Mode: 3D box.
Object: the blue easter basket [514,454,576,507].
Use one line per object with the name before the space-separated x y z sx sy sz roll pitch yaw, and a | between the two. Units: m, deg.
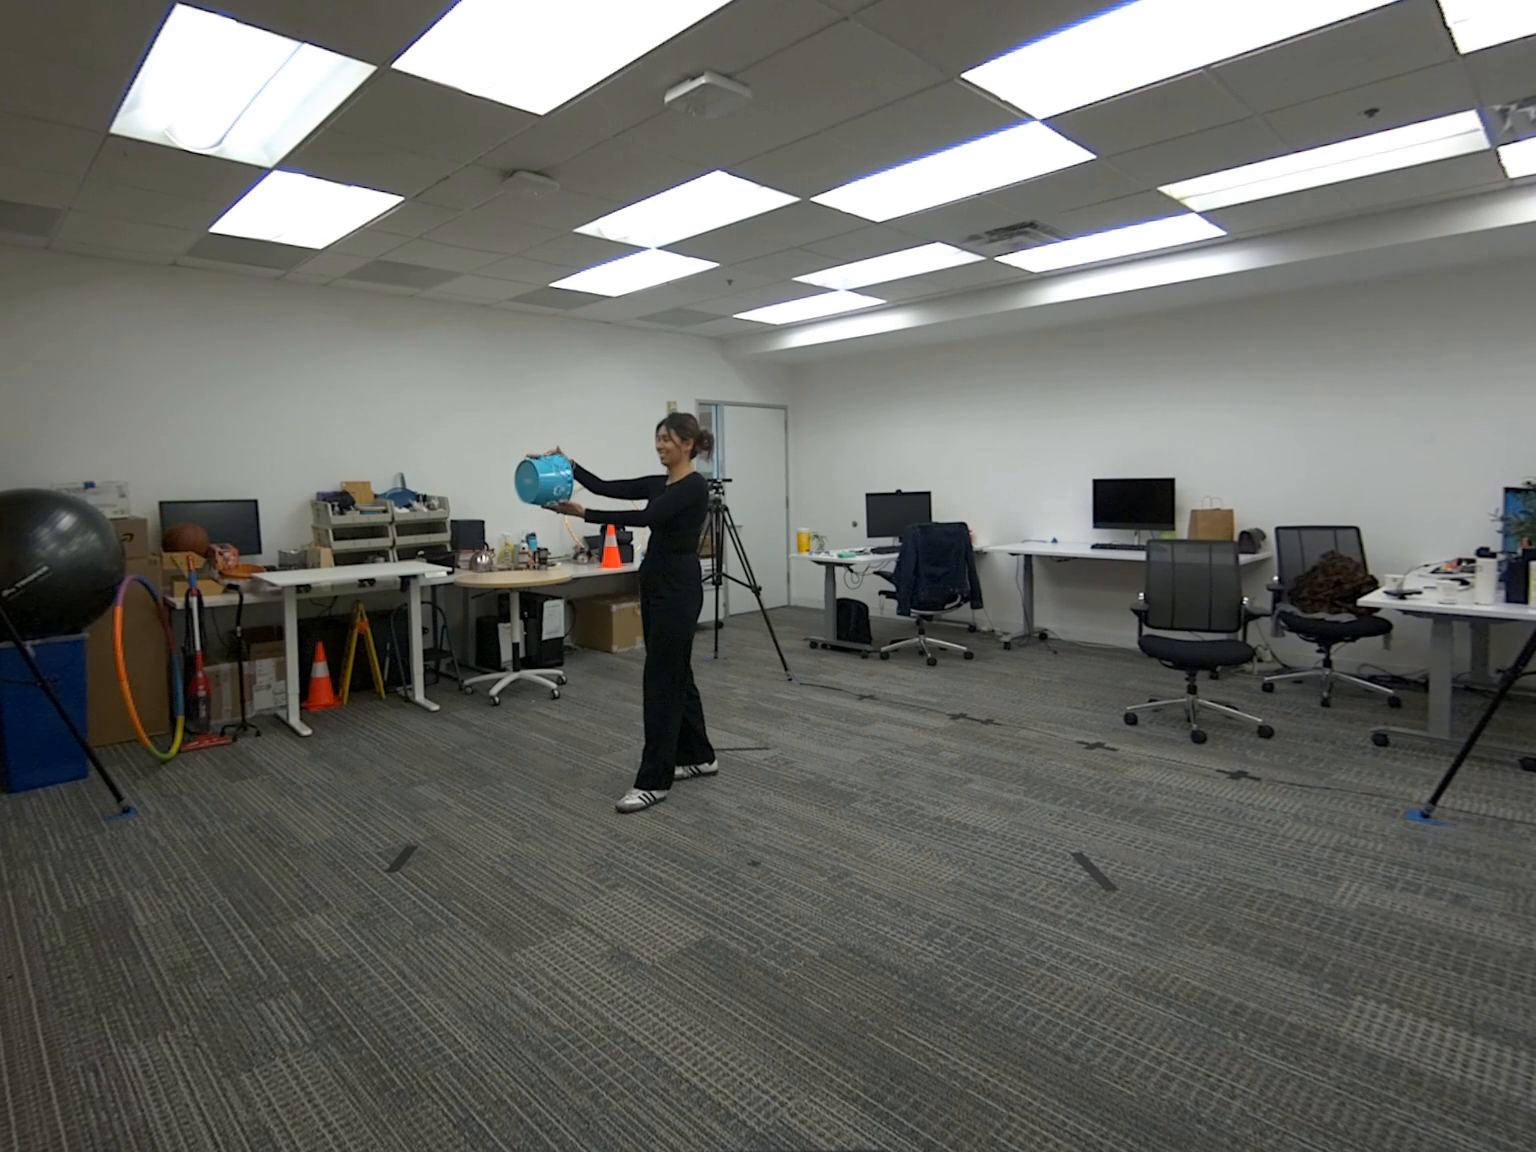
blue easter basket | -0.936 -0.397 3.554 0.251 0.243 0.152 3 5 43
